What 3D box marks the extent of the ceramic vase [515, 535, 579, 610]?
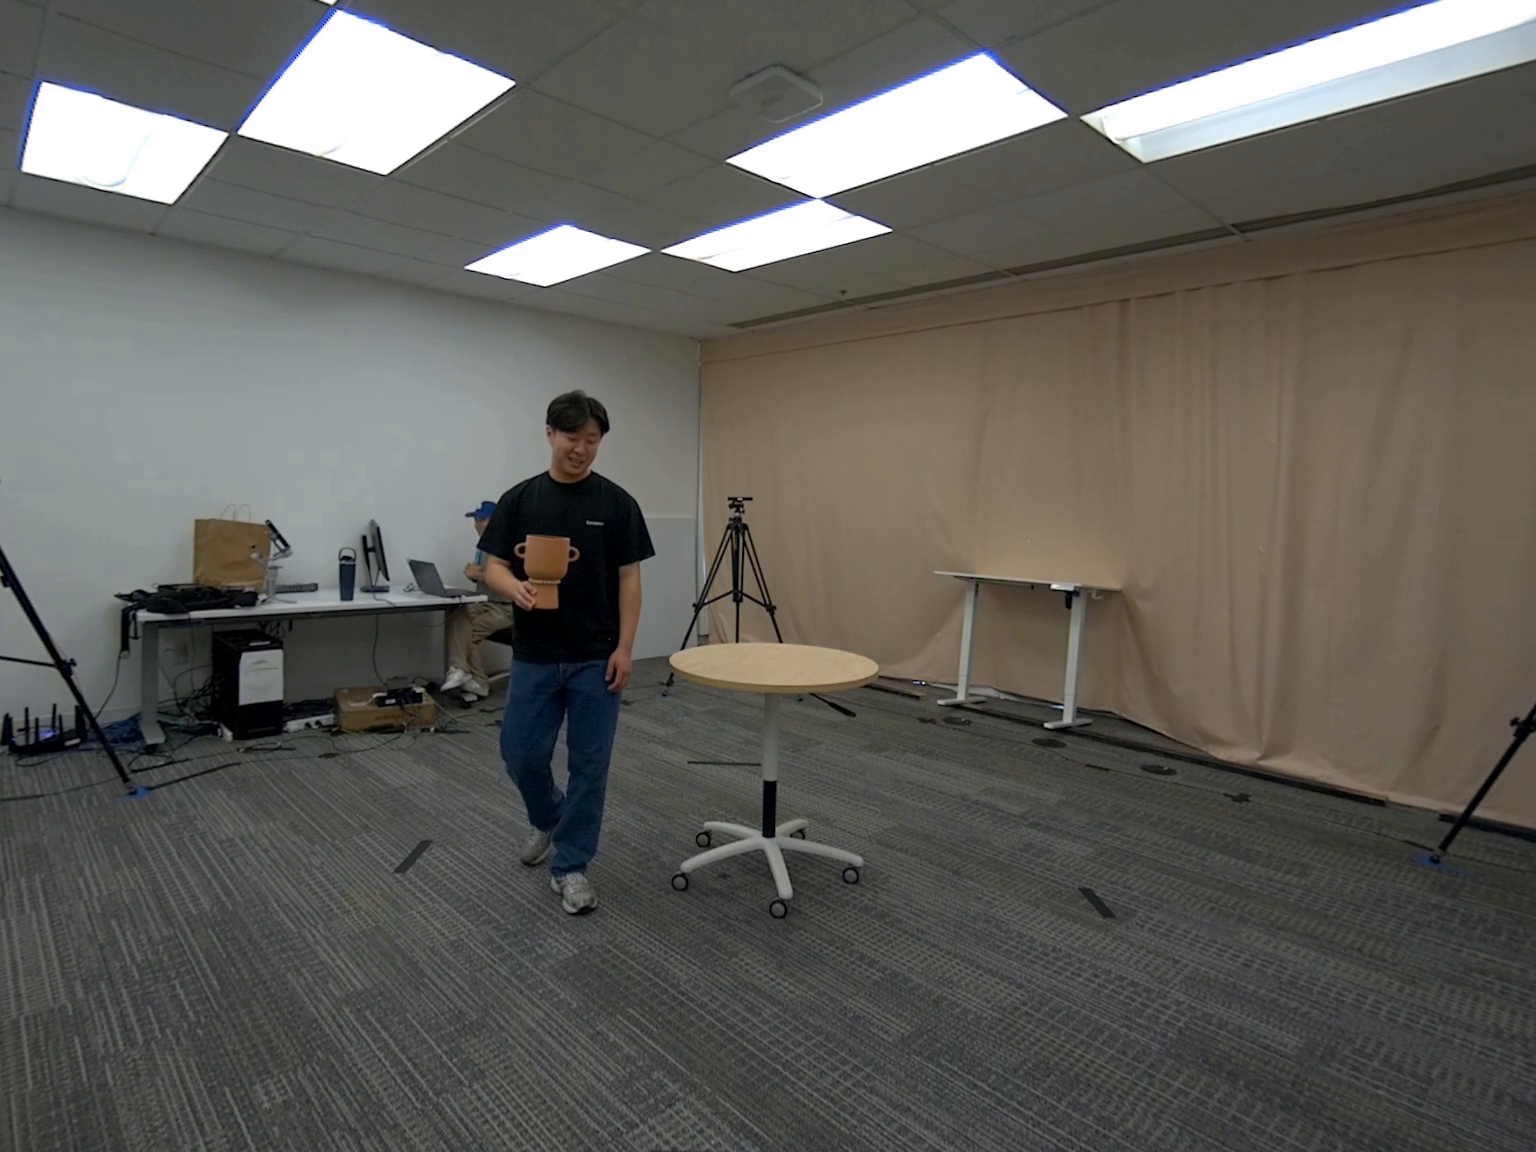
[{"bbox_3d":[-0.719,-0.011,2.637,0.161,0.219,0.133,6,3,18],"label":"ceramic vase"}]
